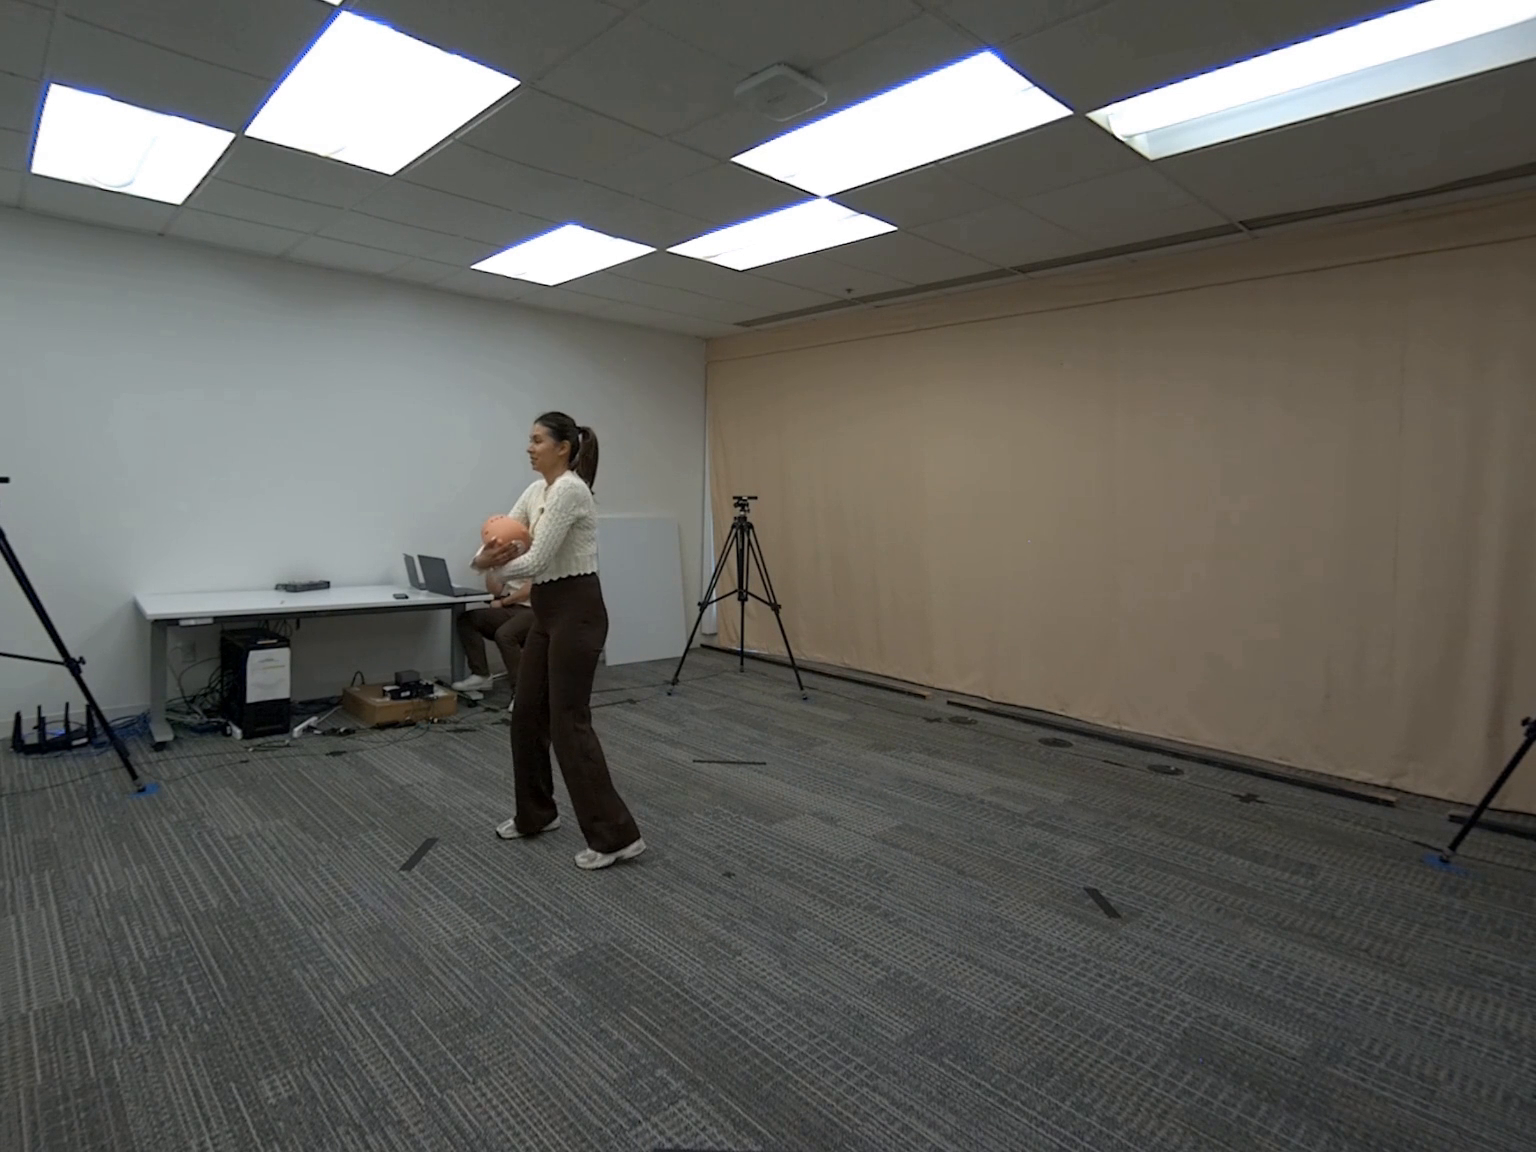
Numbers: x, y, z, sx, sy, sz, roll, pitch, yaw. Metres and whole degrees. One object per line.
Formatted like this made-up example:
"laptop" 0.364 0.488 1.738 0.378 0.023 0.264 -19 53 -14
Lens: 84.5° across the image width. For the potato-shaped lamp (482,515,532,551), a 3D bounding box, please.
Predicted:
"potato-shaped lamp" -1.011 -0.155 3.205 0.163 0.168 0.204 -25 51 -25
